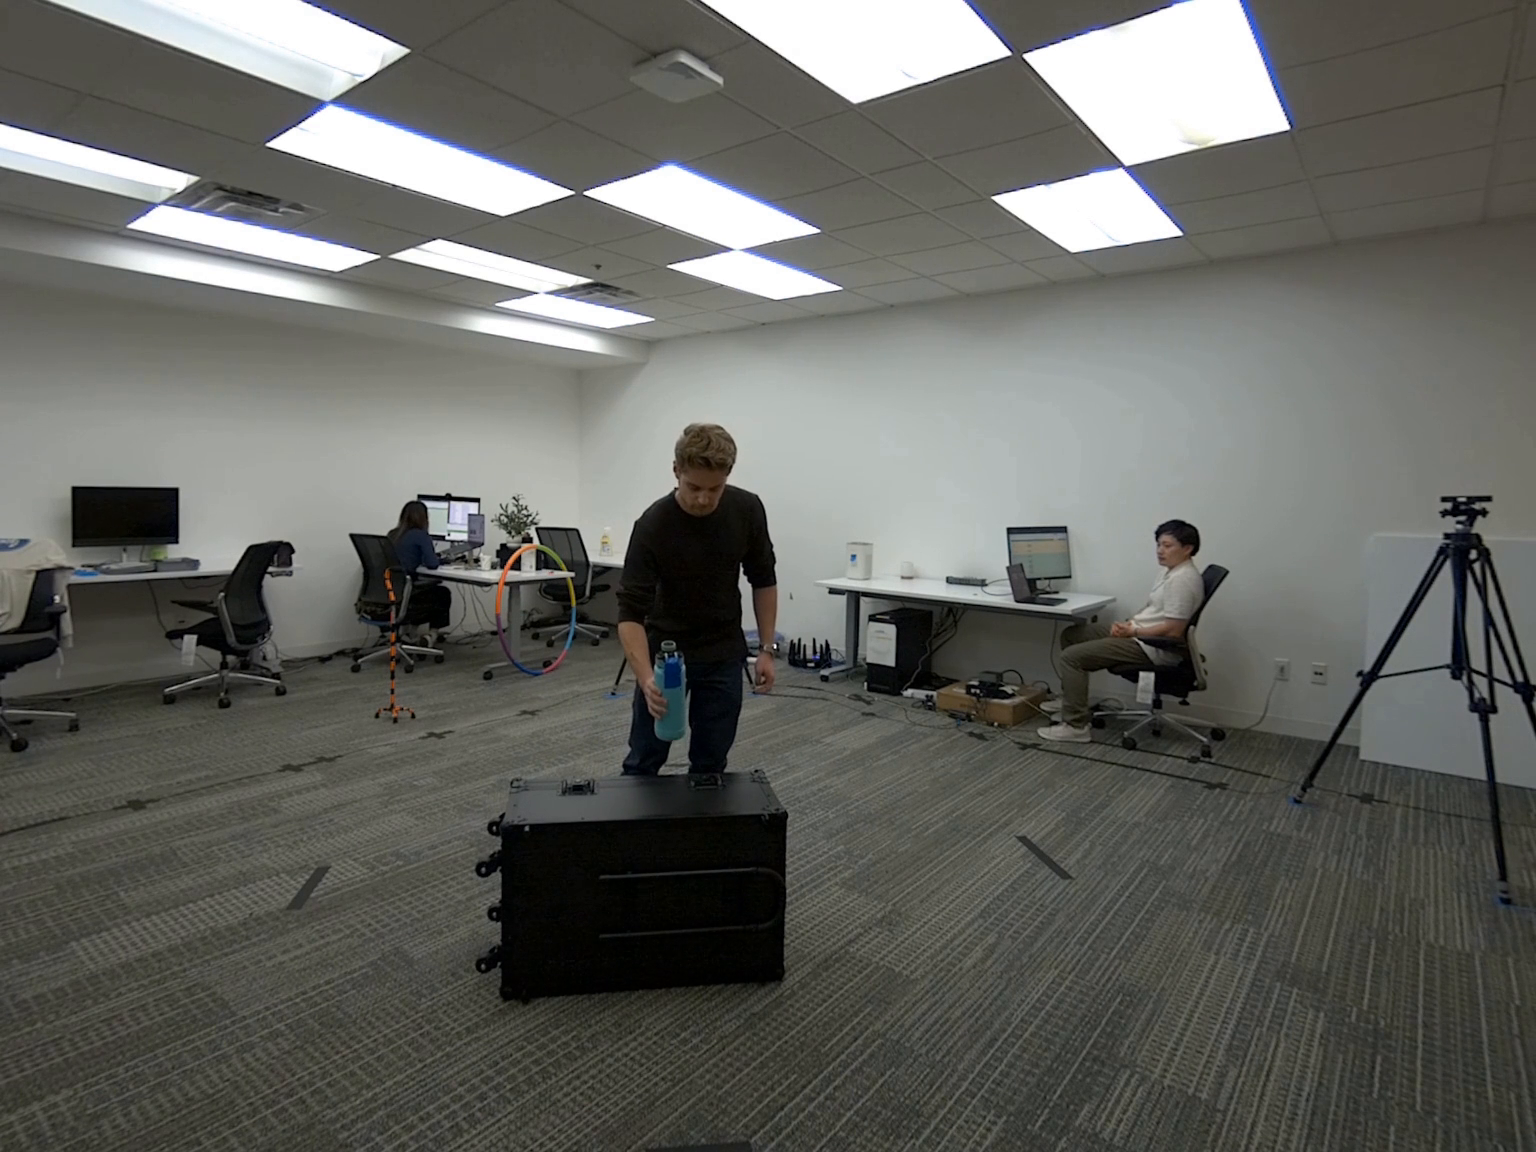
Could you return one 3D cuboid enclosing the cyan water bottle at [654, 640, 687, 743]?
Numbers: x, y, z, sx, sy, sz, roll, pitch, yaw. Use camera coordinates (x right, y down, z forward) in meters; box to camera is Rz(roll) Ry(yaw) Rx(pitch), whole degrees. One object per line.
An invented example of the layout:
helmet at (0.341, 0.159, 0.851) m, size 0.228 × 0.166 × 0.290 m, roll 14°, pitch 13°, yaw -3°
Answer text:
cyan water bottle at (-0.296, 0.325, 2.419) m, size 0.092 × 0.278 × 0.094 m, roll 3°, pitch 22°, yaw -3°
